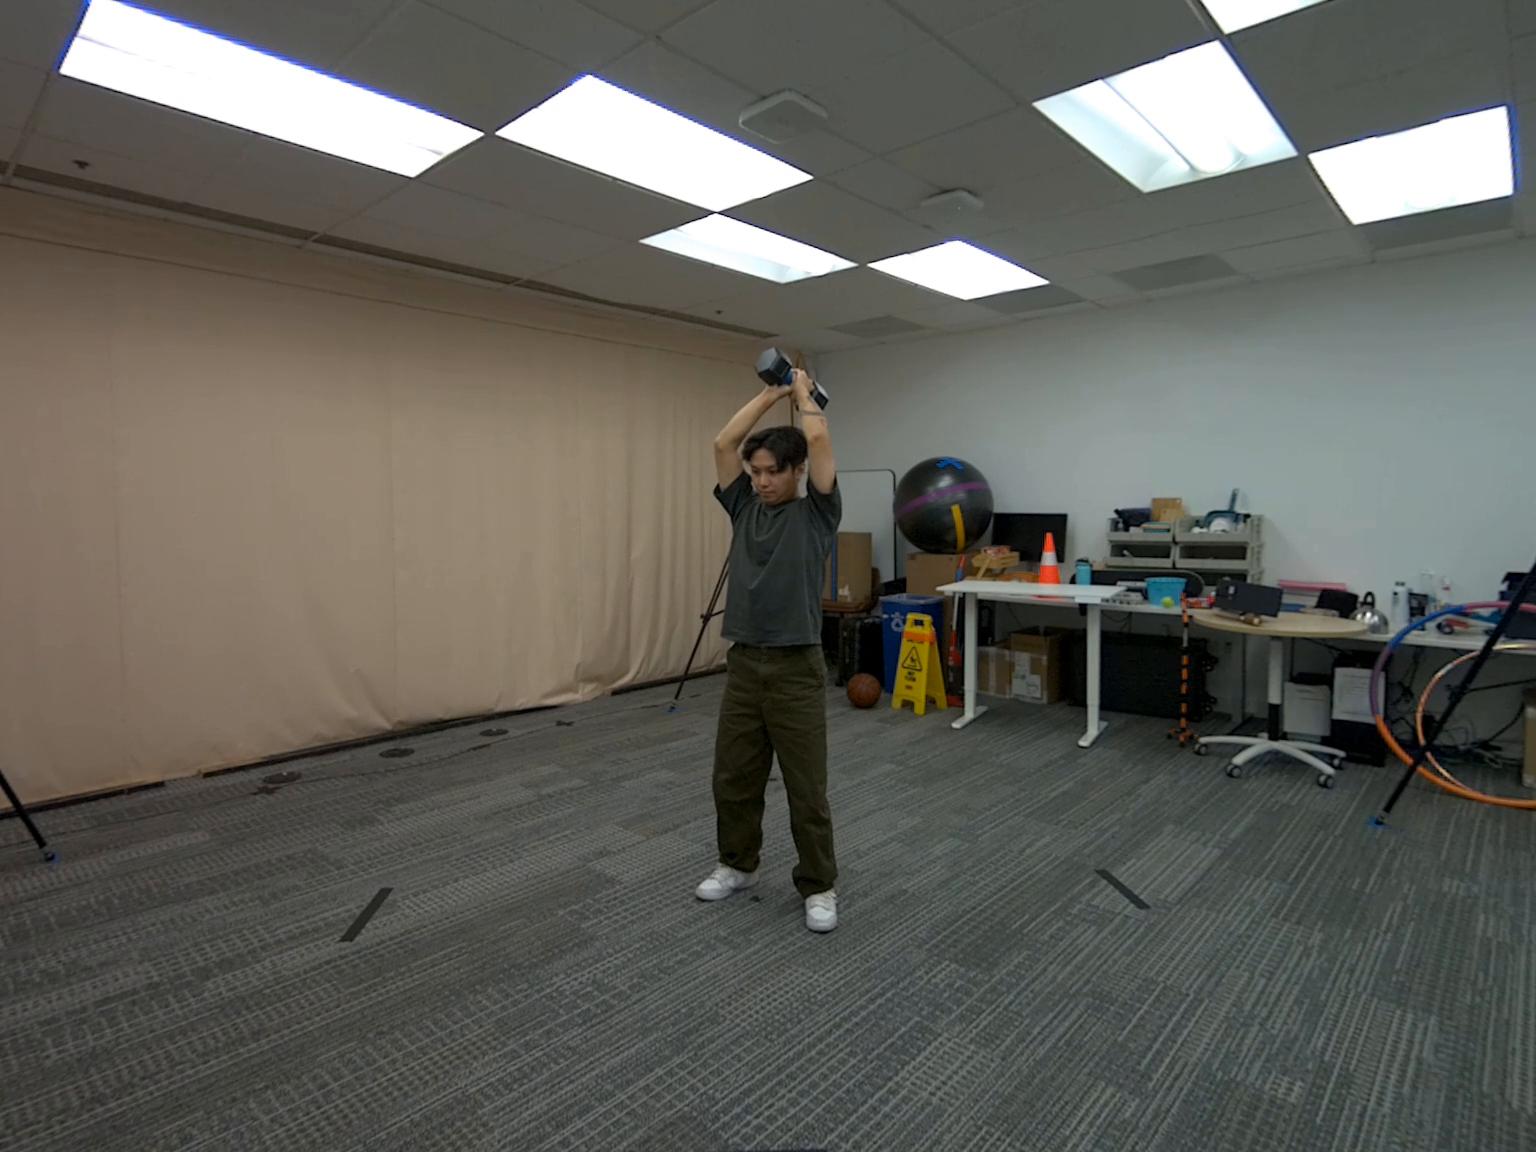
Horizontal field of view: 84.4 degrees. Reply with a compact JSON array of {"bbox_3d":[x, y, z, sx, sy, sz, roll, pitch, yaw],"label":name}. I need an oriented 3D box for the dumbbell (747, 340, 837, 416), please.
[{"bbox_3d":[0.085,-0.676,2.941,0.283,0.123,0.113,33,0,-39],"label":"dumbbell"}]
